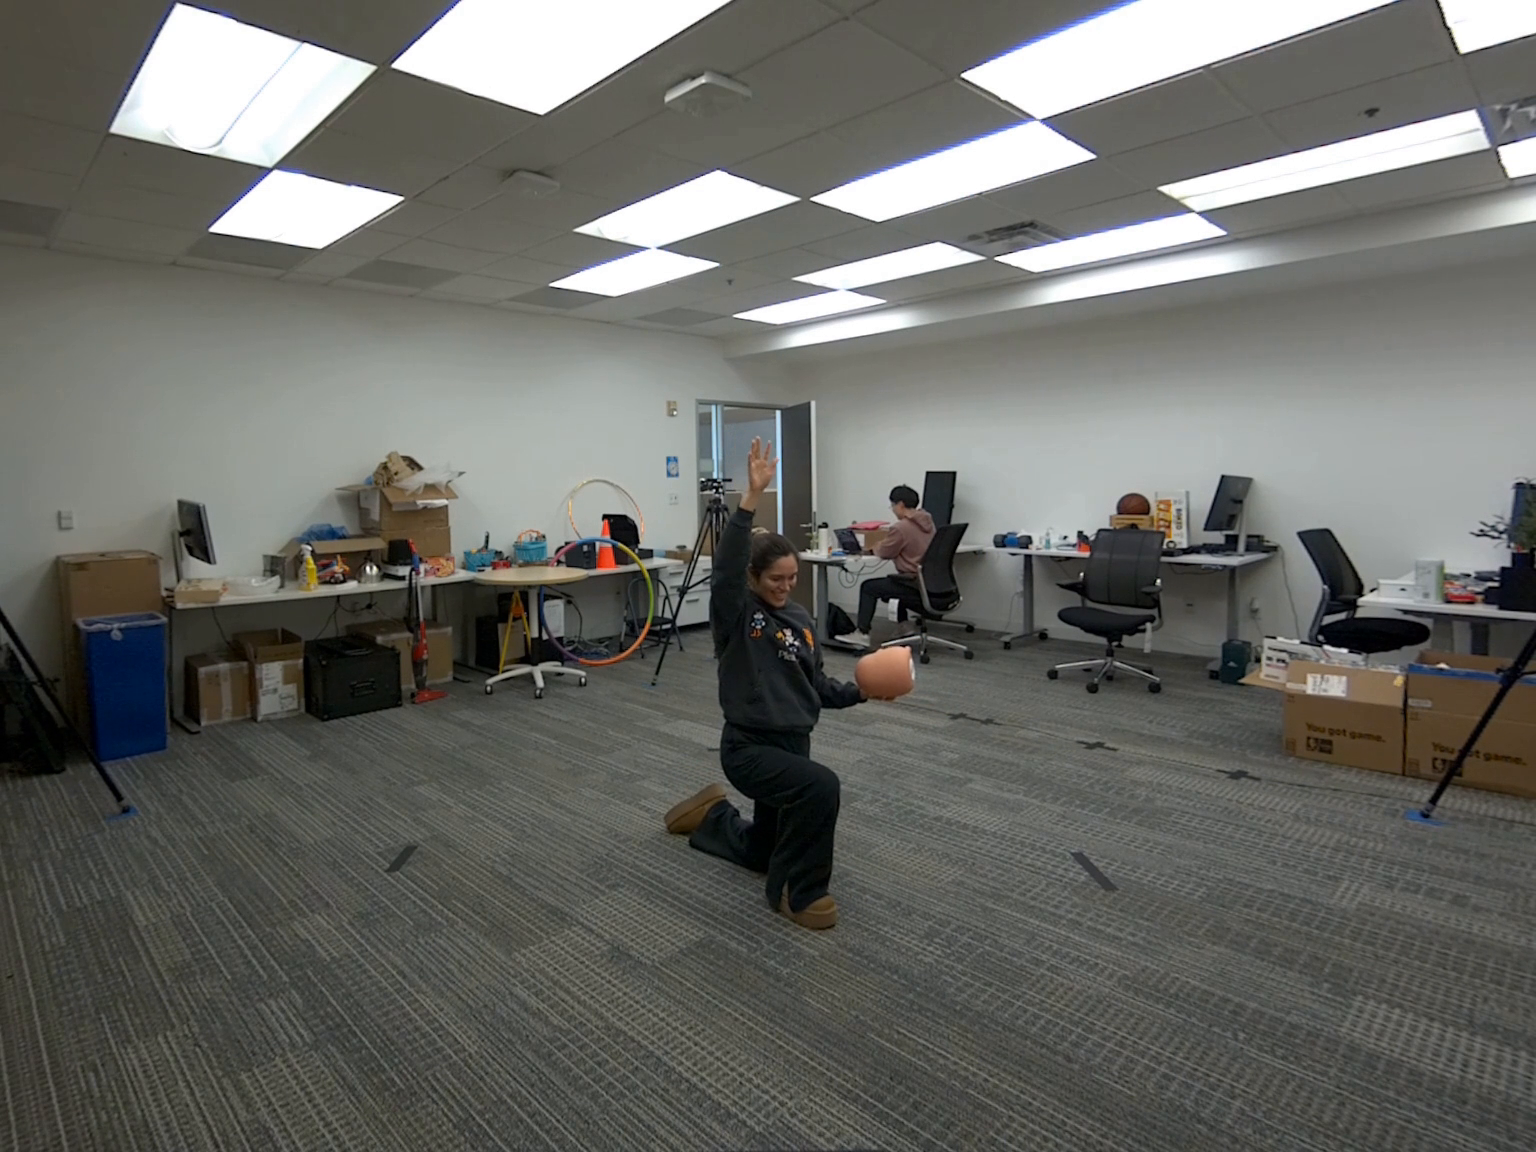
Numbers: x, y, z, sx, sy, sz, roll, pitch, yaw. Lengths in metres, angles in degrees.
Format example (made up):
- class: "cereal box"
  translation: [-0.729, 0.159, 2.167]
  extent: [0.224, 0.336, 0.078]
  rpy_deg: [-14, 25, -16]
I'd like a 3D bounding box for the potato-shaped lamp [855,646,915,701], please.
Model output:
- class: "potato-shaped lamp"
  translation: [0.395, 0.334, 2.920]
  extent: [0.201, 0.160, 0.173]
  rpy_deg: [-5, 31, 20]
